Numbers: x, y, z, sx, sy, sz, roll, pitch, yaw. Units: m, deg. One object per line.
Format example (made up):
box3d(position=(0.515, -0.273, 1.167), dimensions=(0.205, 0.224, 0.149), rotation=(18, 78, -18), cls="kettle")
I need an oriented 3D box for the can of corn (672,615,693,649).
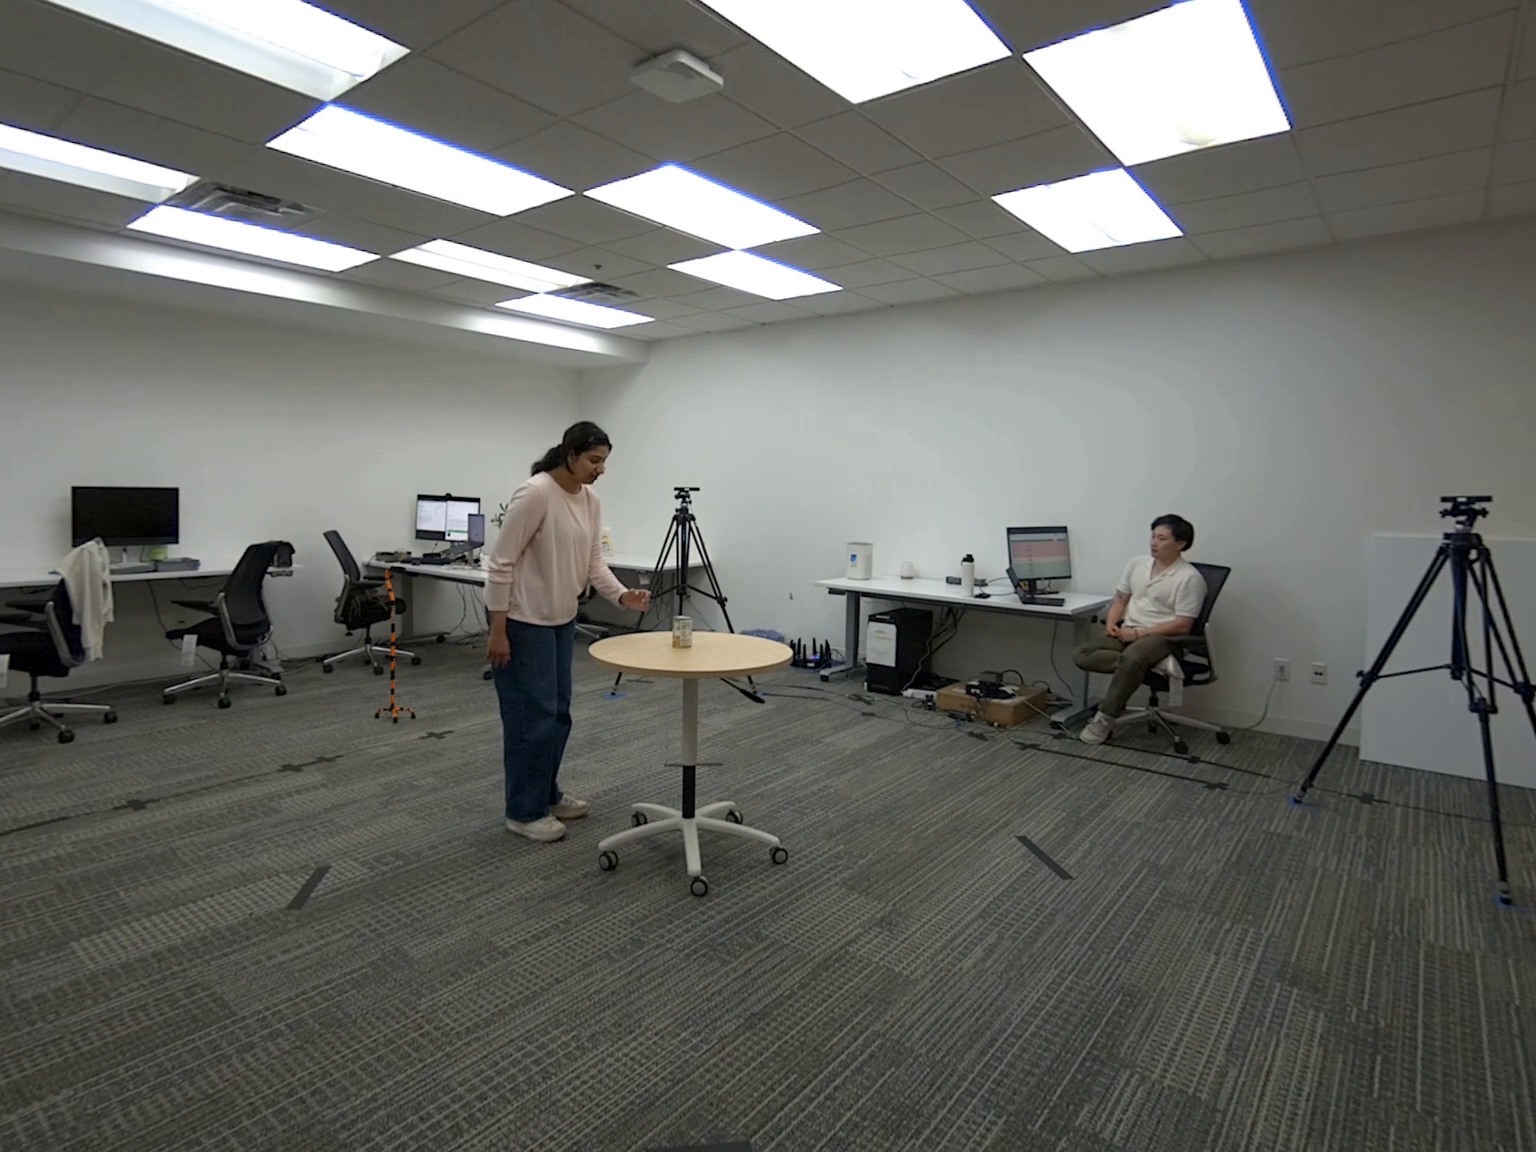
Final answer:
box3d(position=(-0.336, 0.212, 3.249), dimensions=(0.074, 0.110, 0.074), rotation=(0, 4, -2), cls="can of corn")
